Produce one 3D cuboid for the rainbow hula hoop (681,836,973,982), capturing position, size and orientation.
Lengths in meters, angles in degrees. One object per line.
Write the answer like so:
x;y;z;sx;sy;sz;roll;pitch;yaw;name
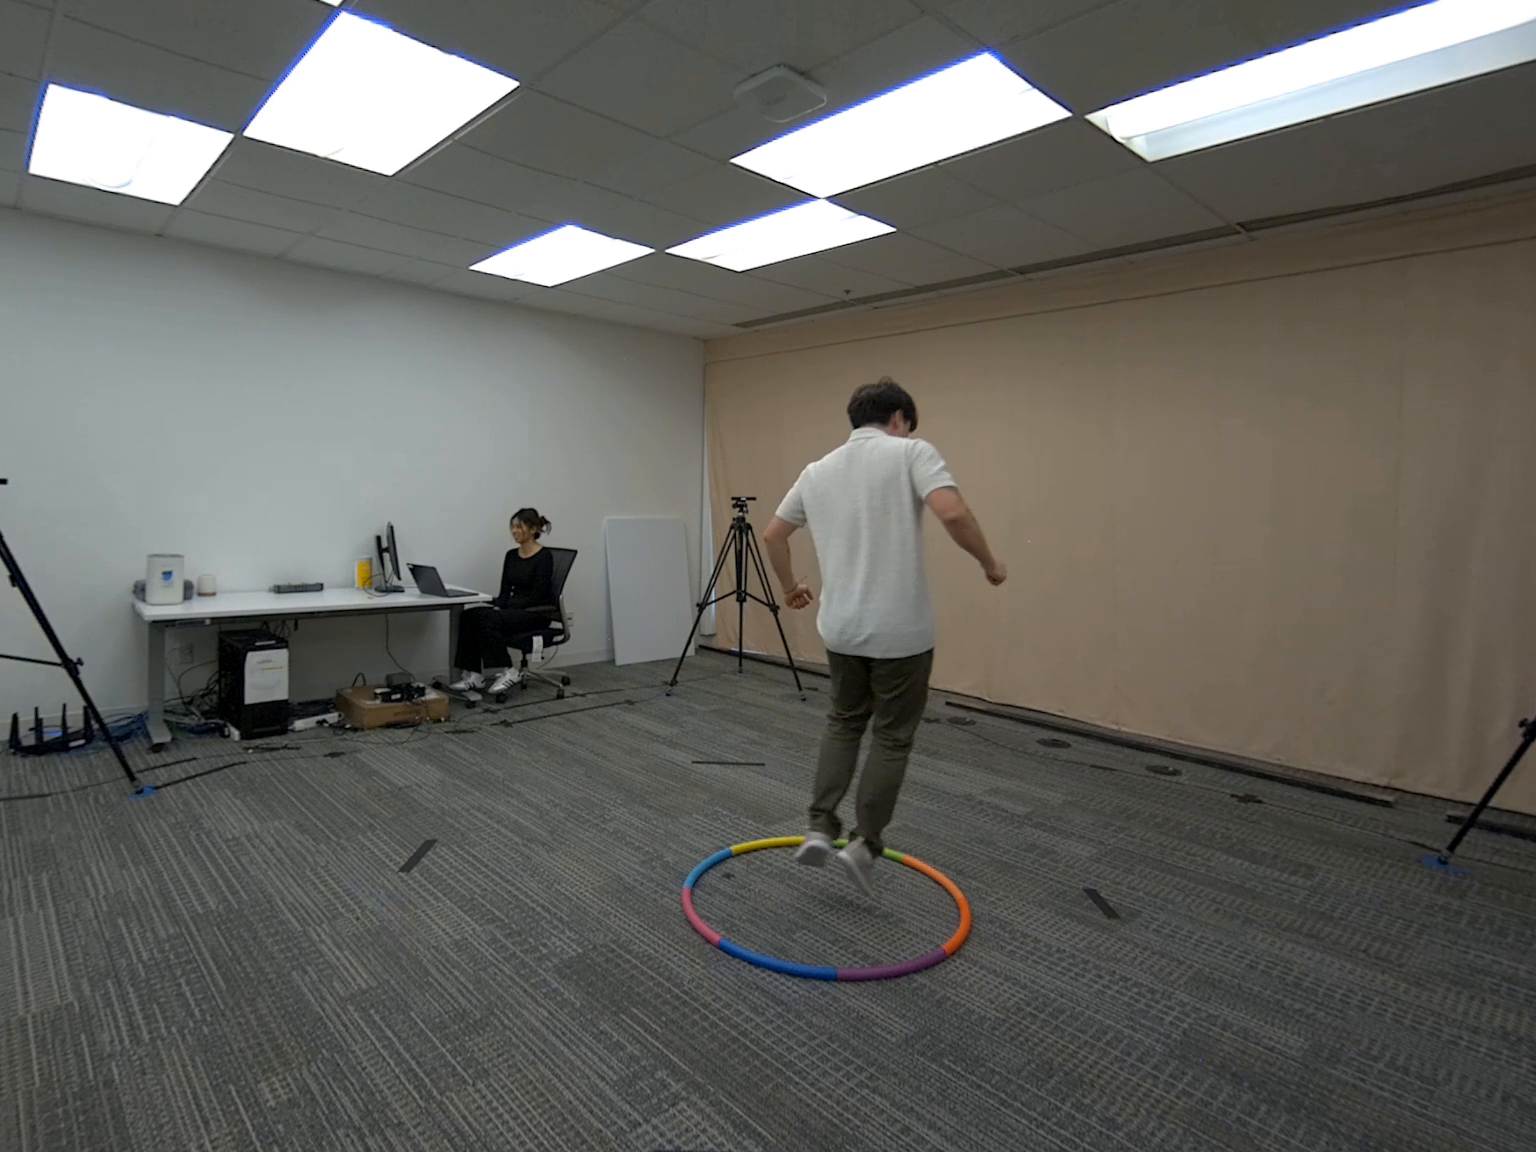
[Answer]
0.185;1.101;2.928;0.978;0.035;0.982;1;5;-1;rainbow hula hoop
